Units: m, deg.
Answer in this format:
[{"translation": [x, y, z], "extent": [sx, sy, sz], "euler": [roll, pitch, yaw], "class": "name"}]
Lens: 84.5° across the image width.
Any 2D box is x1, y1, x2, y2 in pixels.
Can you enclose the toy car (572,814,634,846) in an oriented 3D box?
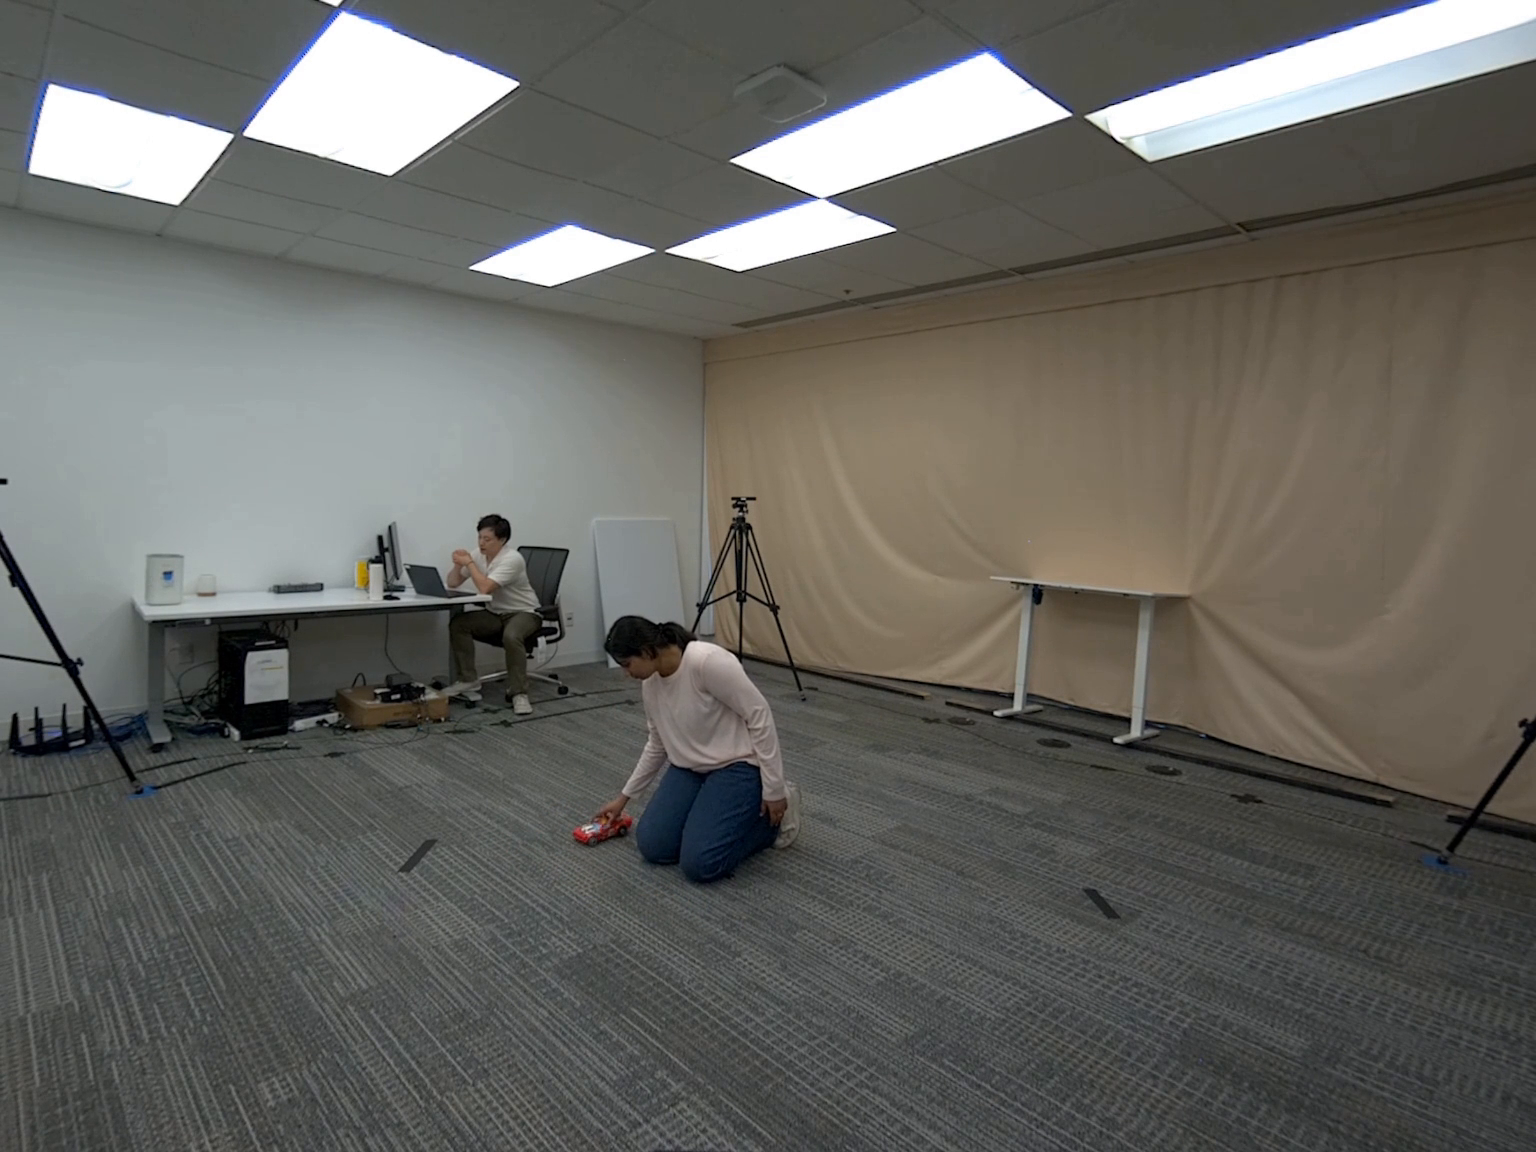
[{"translation": [-0.672, 1.027, 3.438], "extent": [0.133, 0.082, 0.250], "euler": [5, 16, 45], "class": "toy car"}]
